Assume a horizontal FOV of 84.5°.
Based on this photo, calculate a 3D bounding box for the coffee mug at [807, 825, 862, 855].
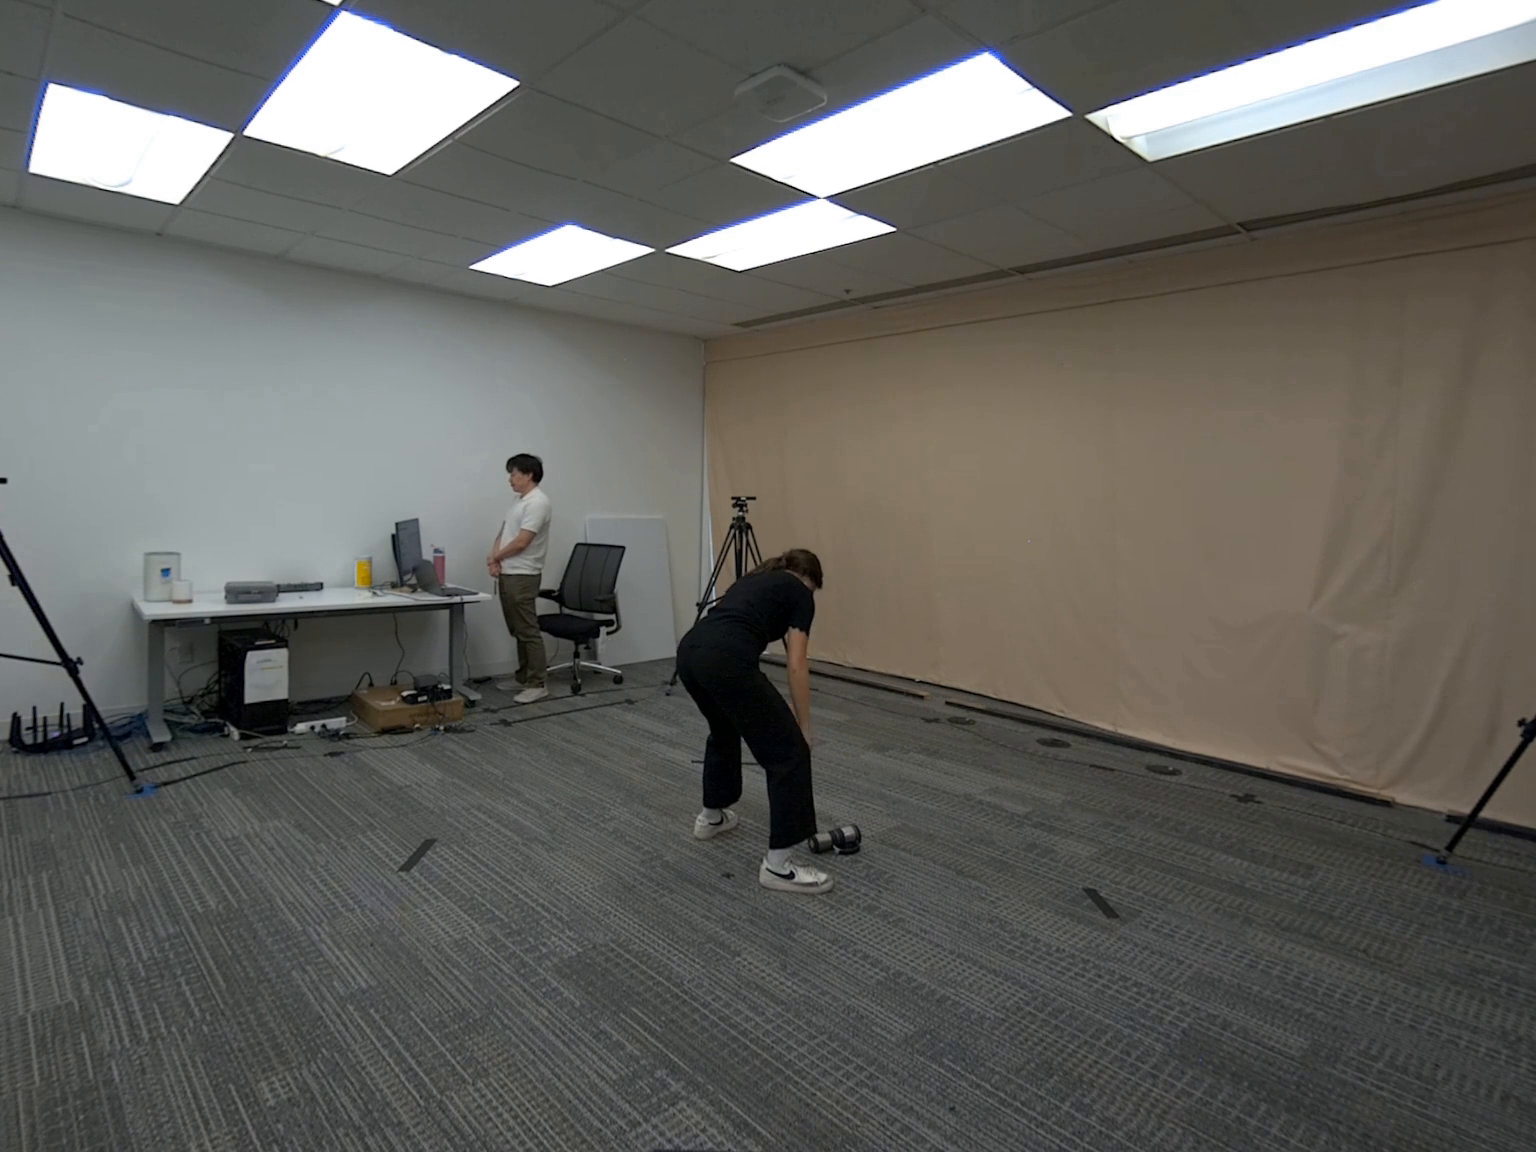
[{"bbox_3d":[0.262,1.049,3.340,0.199,0.088,0.124,0,-5,-27],"label":"coffee mug"}]
